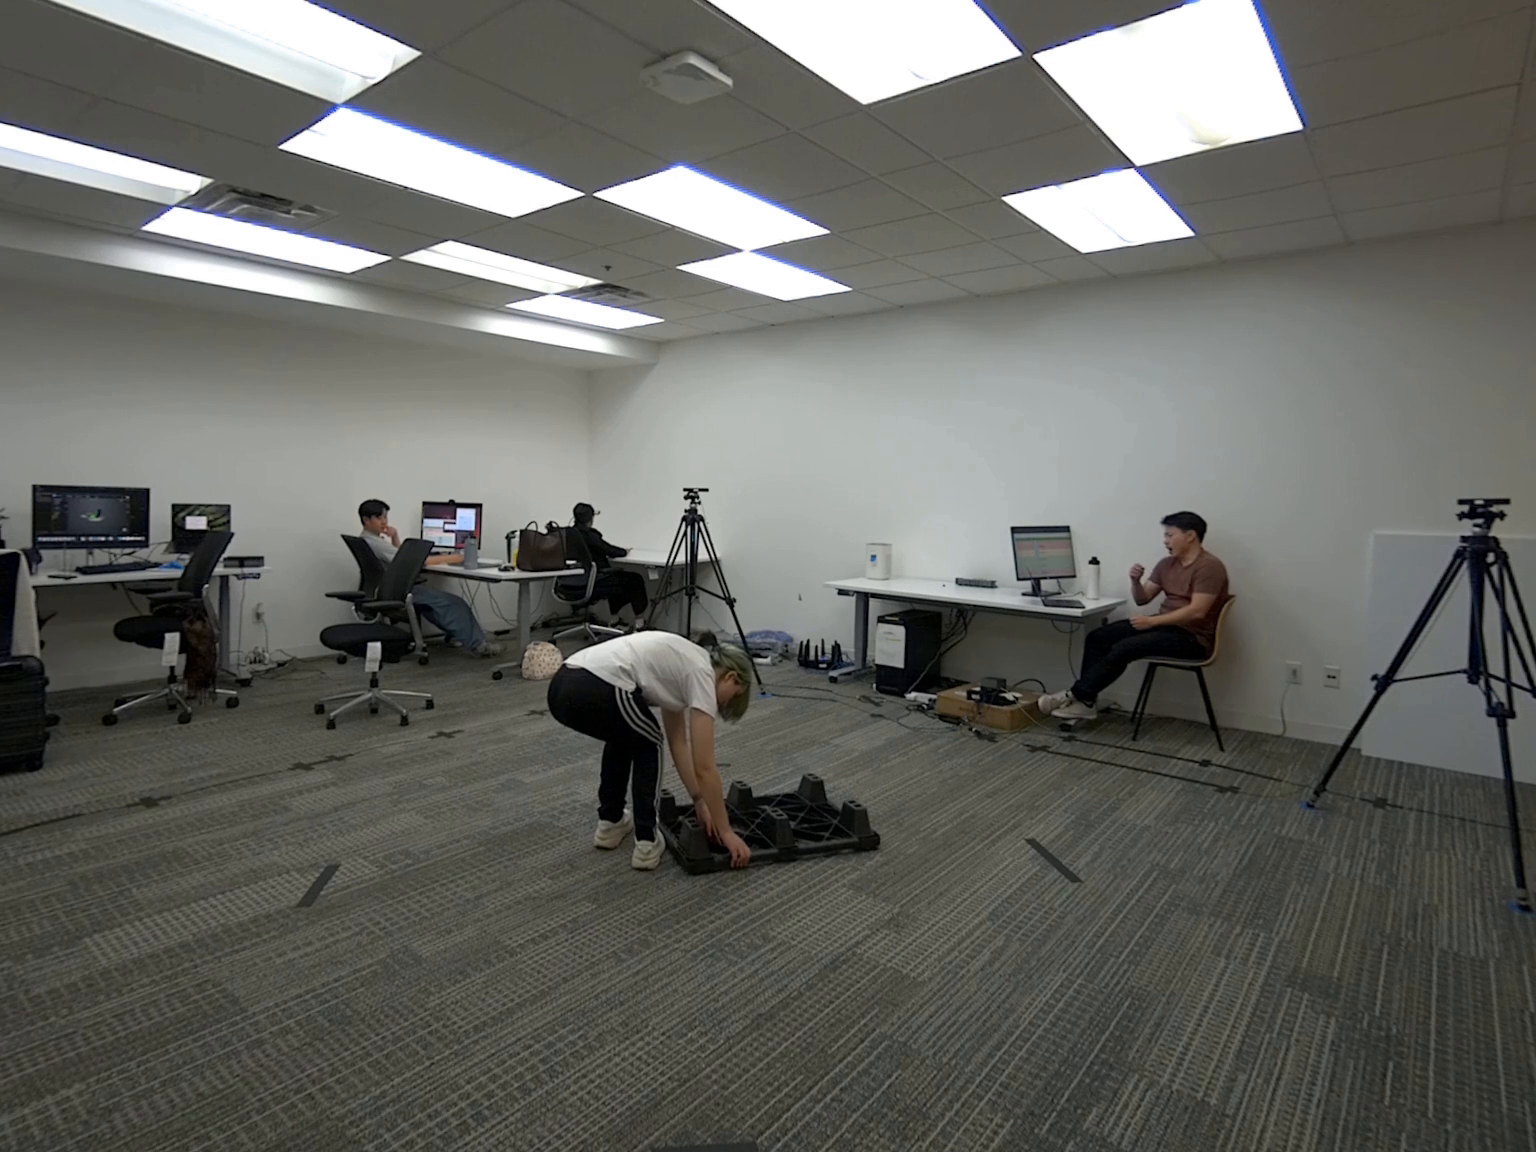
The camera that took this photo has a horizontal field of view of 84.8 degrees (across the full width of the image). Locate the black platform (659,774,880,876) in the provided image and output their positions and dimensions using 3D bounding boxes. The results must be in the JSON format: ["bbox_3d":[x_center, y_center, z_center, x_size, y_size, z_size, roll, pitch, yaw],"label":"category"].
[{"bbox_3d":[-0.054,0.959,3.453,0.788,0.143,0.620,-1,5,-22],"label":"black platform"}]
